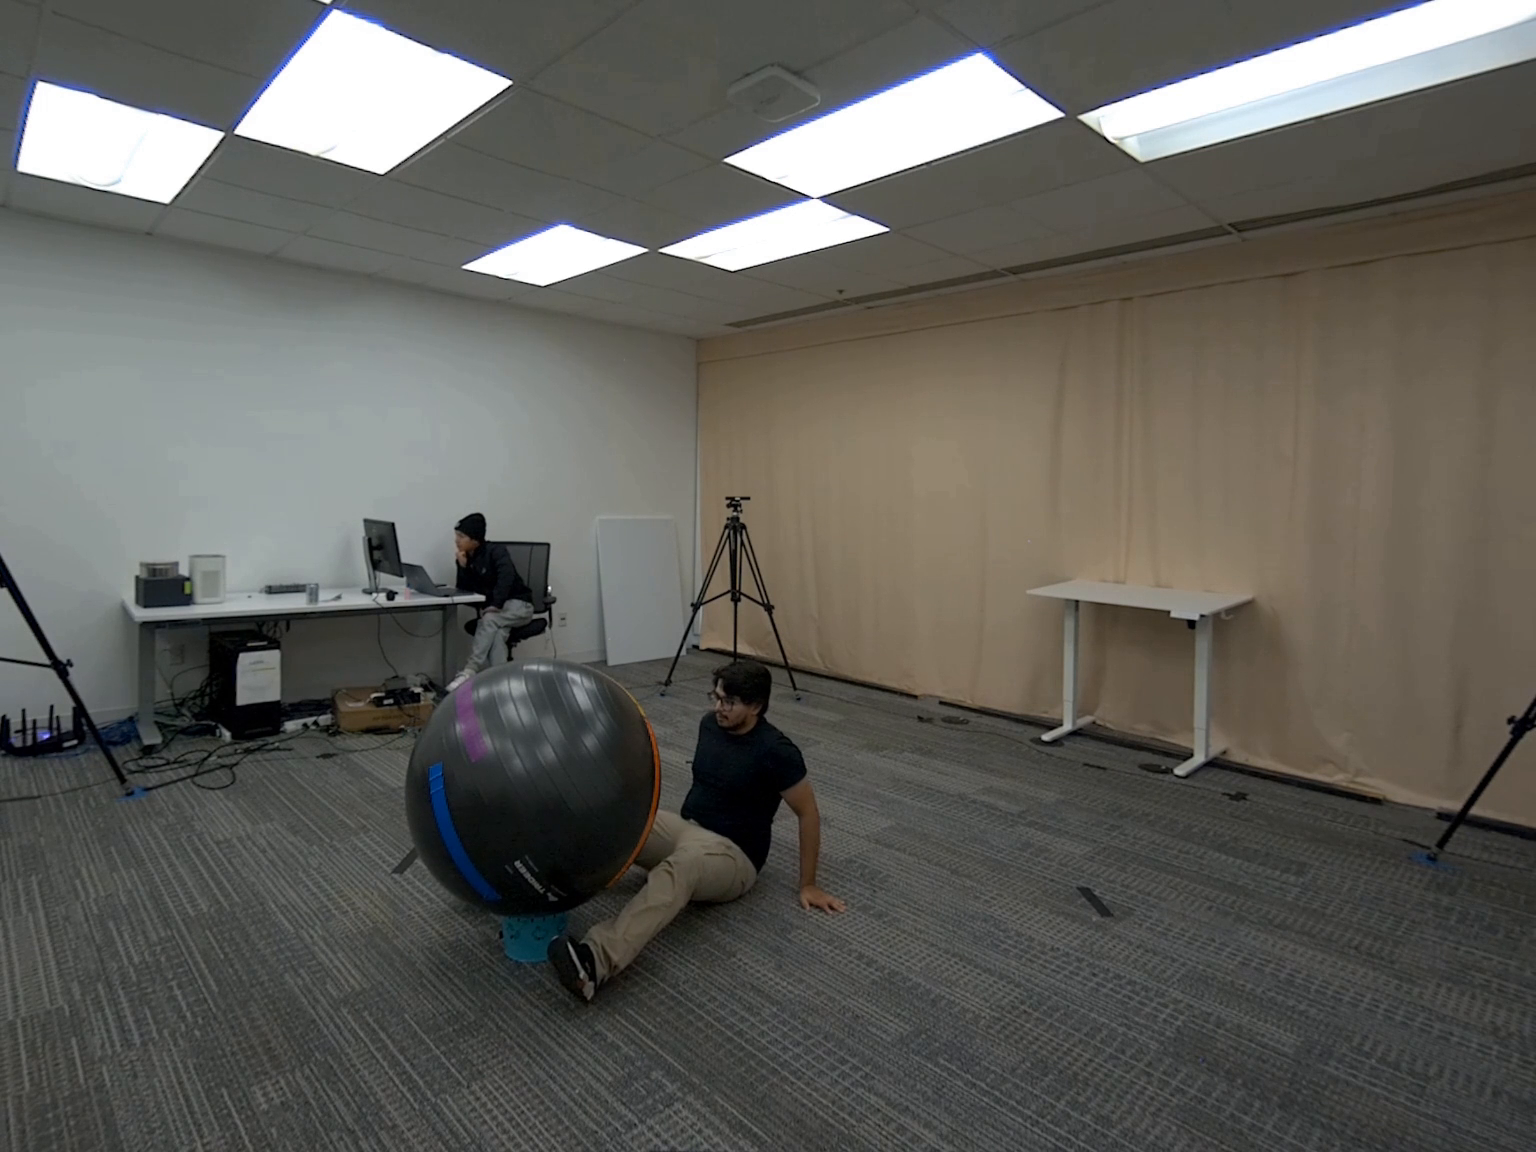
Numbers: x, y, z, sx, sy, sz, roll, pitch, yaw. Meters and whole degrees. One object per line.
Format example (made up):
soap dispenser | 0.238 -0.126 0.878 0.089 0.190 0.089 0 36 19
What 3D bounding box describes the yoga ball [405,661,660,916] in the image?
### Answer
yoga ball | -0.712 0.637 2.563 0.757 0.756 0.761 1 4 -1
